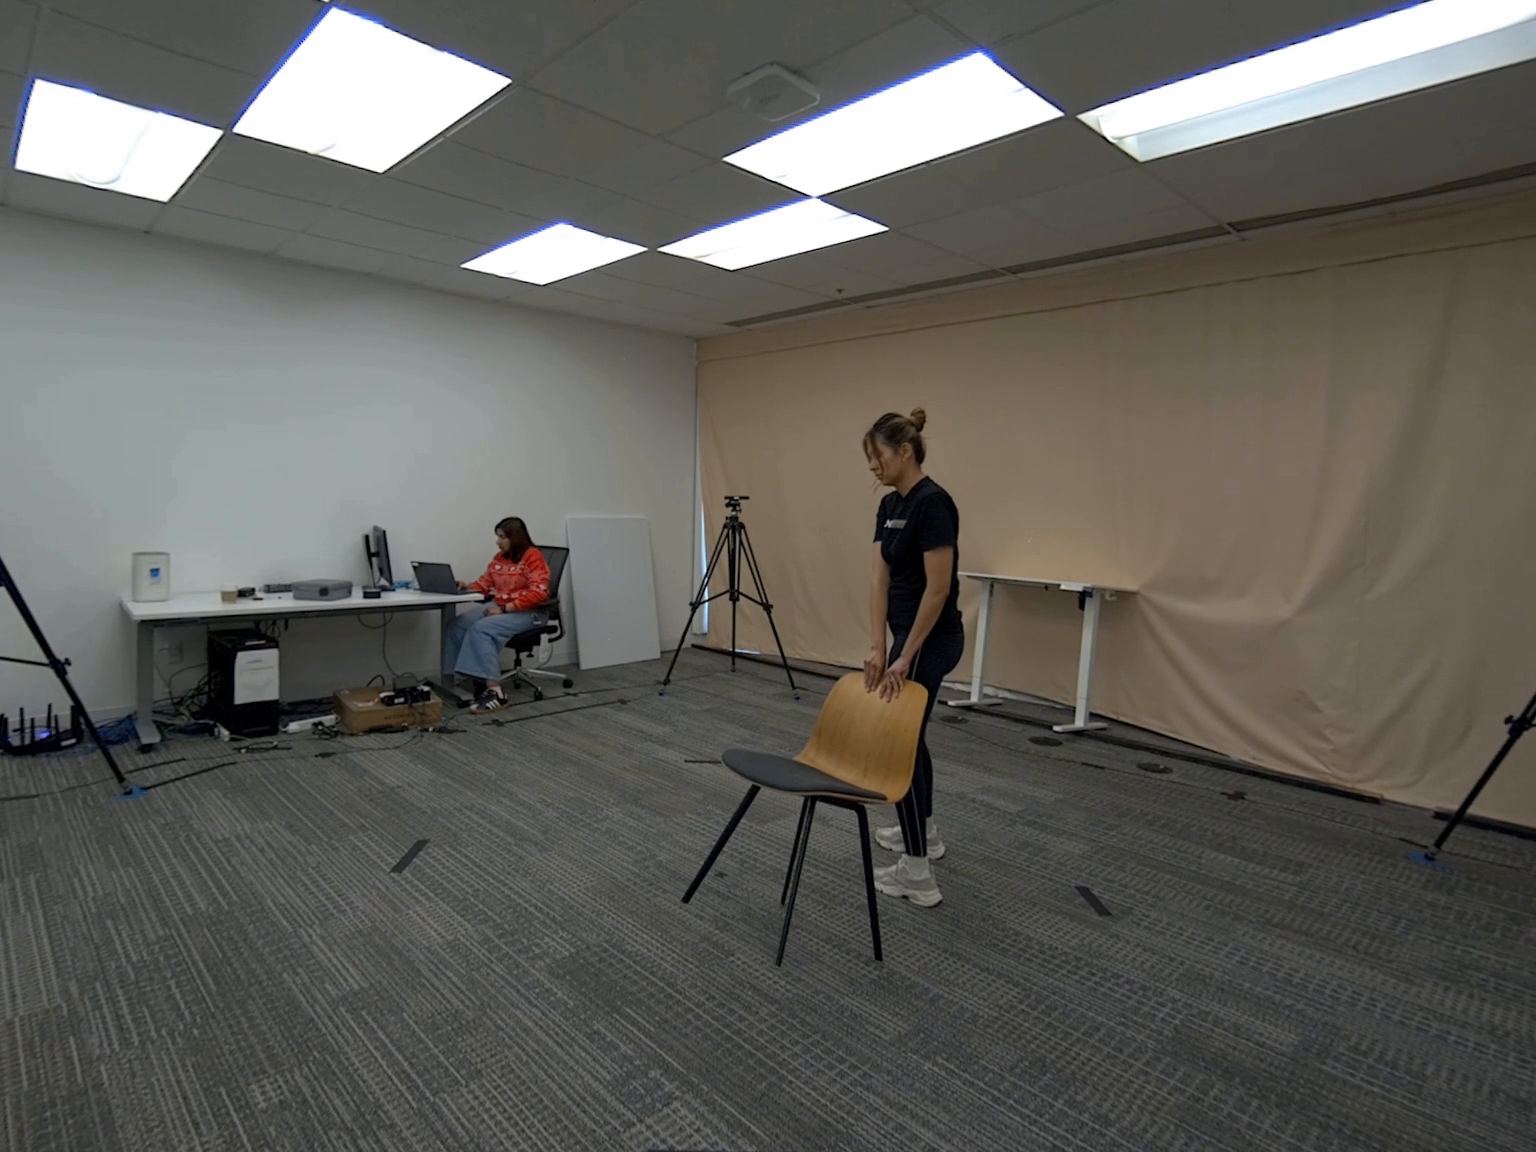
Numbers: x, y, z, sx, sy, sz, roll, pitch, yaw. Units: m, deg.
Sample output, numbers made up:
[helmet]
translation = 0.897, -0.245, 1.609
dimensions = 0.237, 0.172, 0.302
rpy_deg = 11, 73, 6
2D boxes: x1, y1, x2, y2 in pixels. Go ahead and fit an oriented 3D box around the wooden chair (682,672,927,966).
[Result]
[wooden chair]
translation = 0.132, 0.679, 2.623
dimensions = 0.507, 0.881, 0.490
rpy_deg = 25, -12, -39
